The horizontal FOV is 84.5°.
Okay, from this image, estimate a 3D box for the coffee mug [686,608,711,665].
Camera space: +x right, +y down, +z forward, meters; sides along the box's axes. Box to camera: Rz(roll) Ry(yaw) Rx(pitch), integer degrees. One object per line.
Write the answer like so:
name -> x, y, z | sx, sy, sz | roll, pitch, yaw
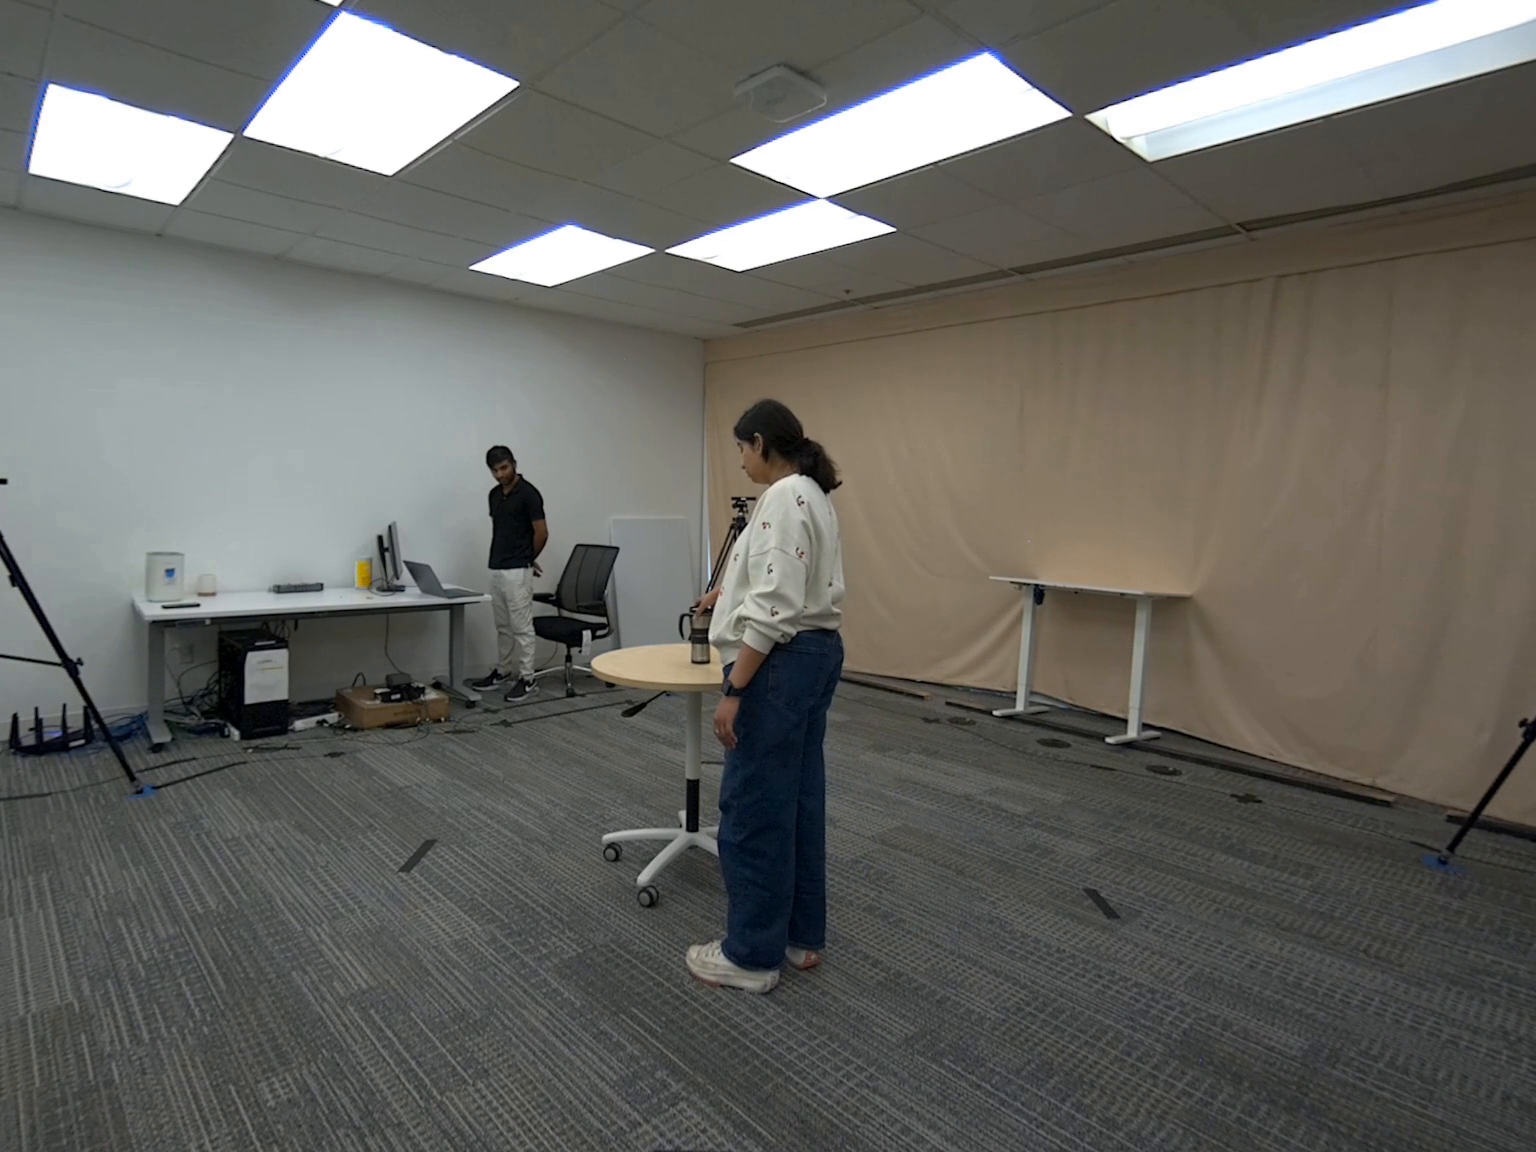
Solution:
coffee mug -> -0.270, 0.221, 3.119 | 0.125, 0.202, 0.086 | 7, 7, 40
